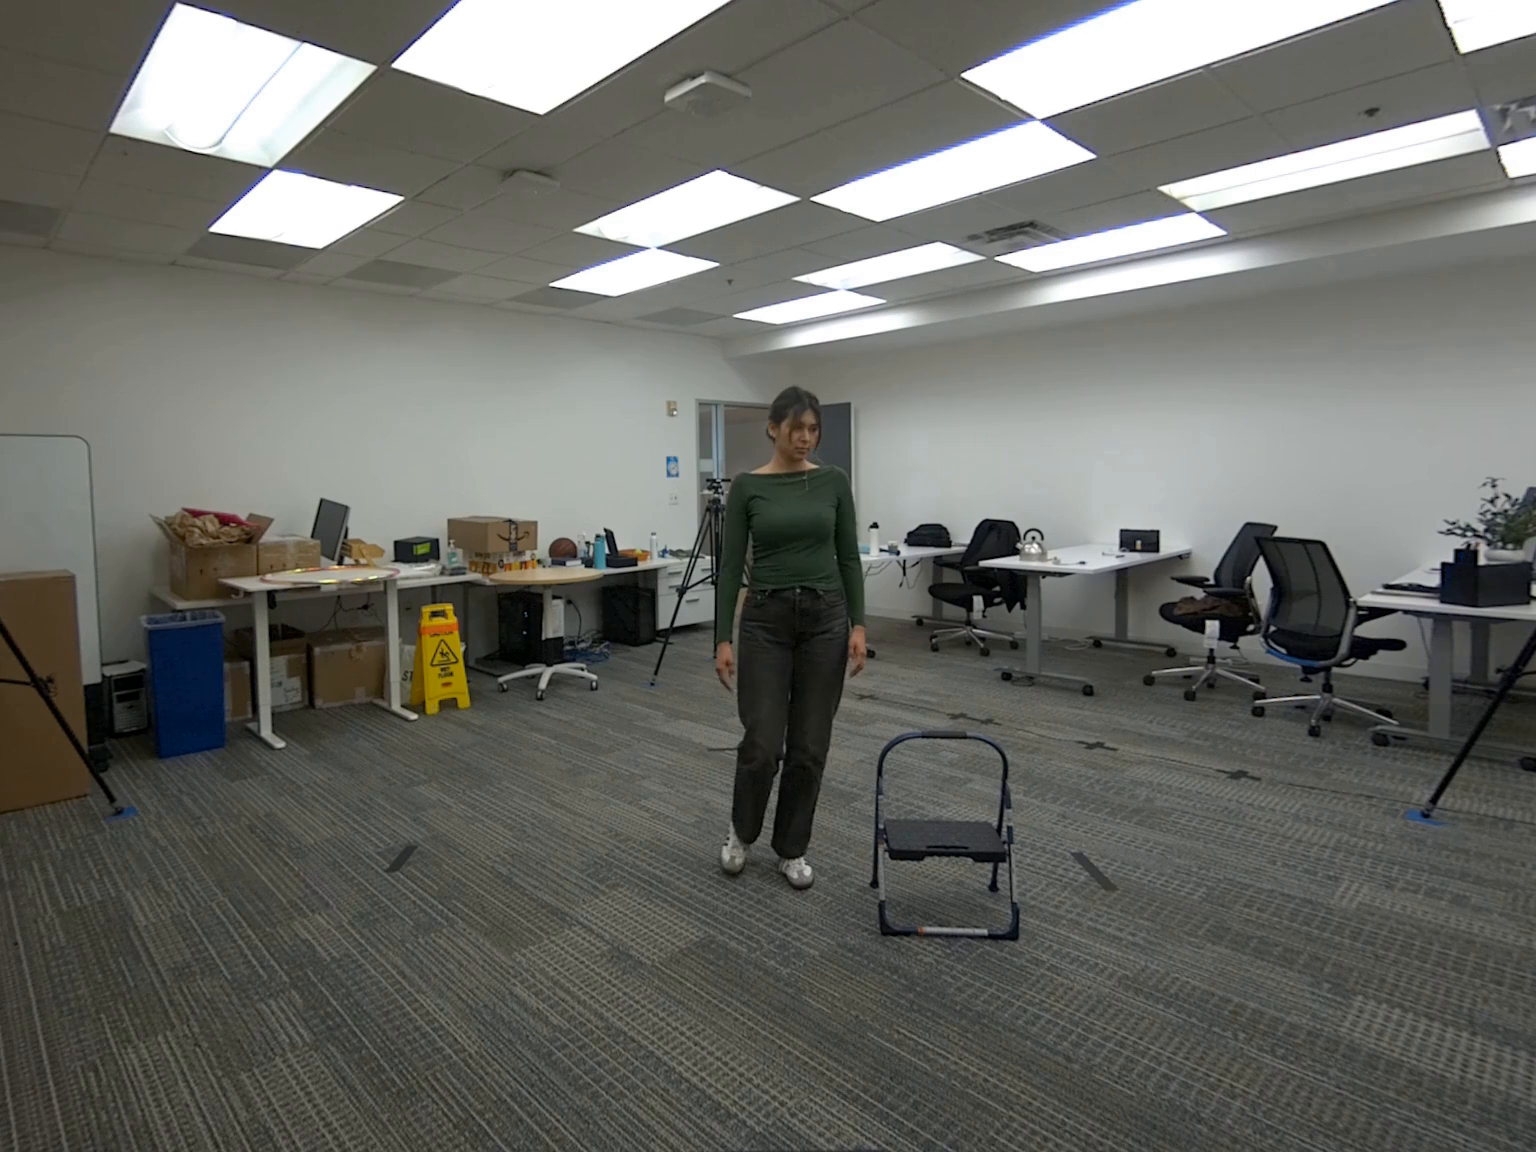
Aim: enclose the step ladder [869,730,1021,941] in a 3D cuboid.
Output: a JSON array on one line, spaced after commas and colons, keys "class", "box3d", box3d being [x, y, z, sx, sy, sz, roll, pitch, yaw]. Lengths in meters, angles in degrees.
[{"class": "step ladder", "box3d": [0.555, 0.777, 2.724, 0.433, 0.604, 0.349, -1, 3, 4]}]
